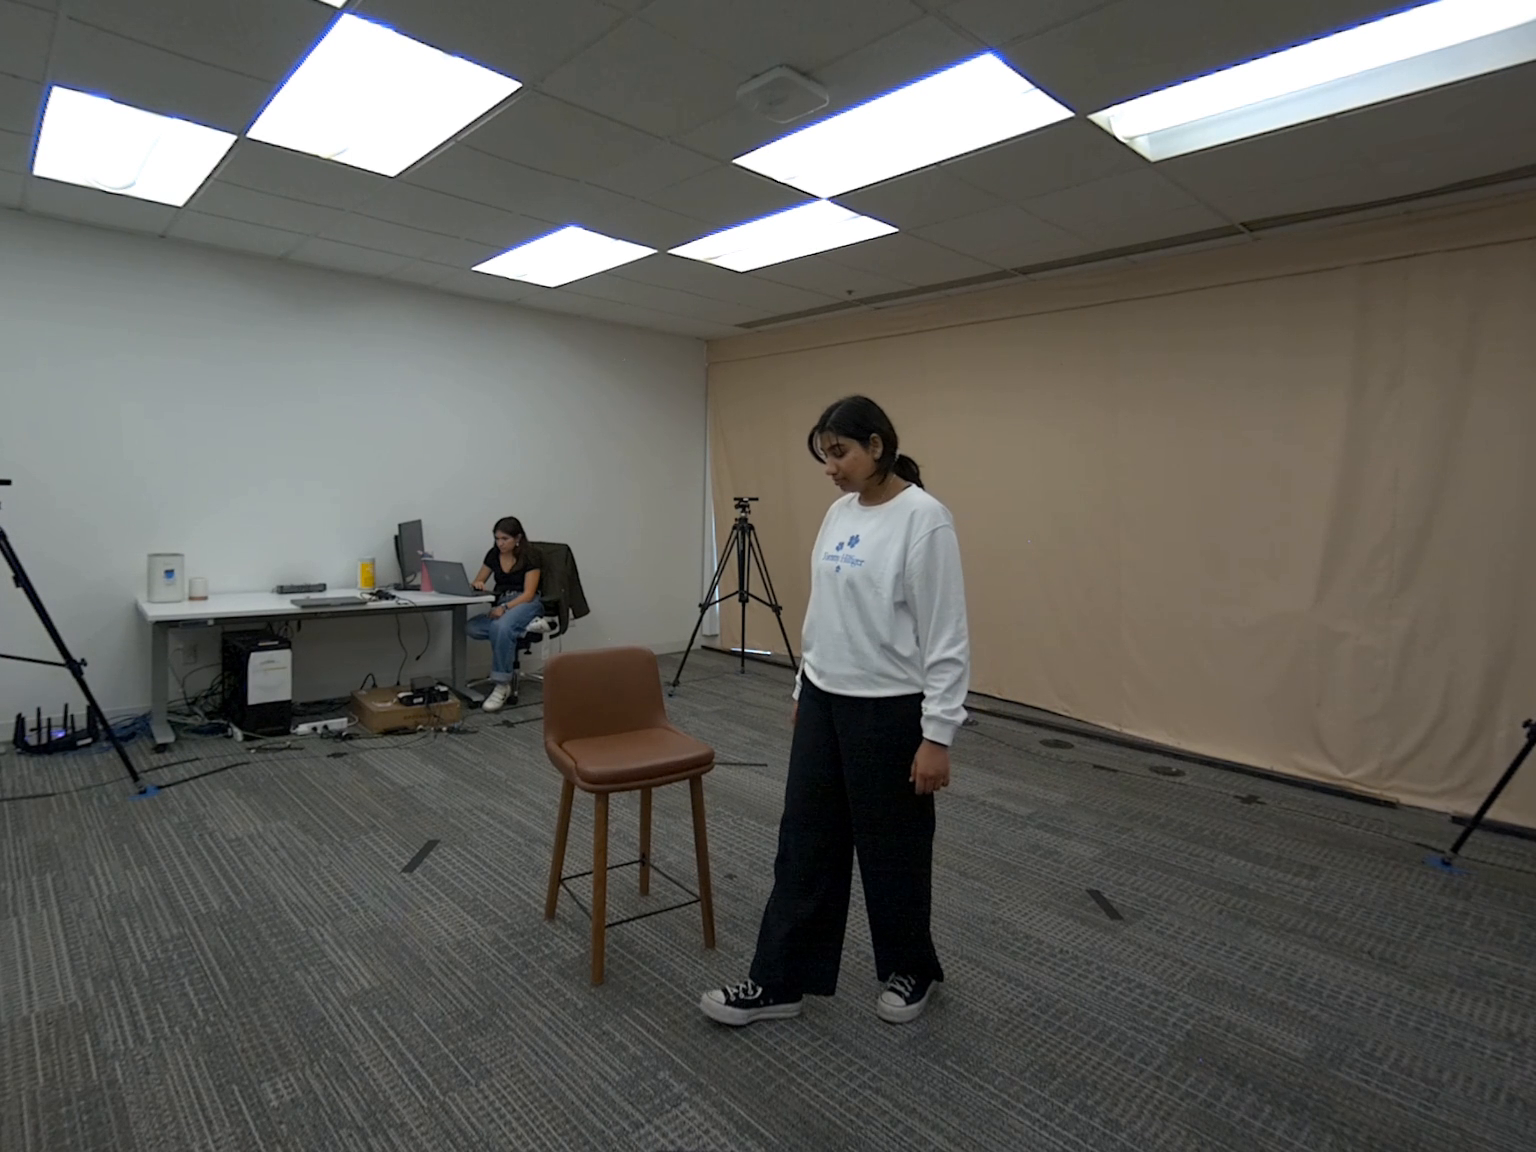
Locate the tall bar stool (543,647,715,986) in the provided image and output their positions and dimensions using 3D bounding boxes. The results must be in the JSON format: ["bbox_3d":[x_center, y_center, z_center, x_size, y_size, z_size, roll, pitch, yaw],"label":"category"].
[{"bbox_3d":[-0.453,0.709,2.661,0.447,0.889,0.478,-1,2,-34],"label":"tall bar stool"}]
